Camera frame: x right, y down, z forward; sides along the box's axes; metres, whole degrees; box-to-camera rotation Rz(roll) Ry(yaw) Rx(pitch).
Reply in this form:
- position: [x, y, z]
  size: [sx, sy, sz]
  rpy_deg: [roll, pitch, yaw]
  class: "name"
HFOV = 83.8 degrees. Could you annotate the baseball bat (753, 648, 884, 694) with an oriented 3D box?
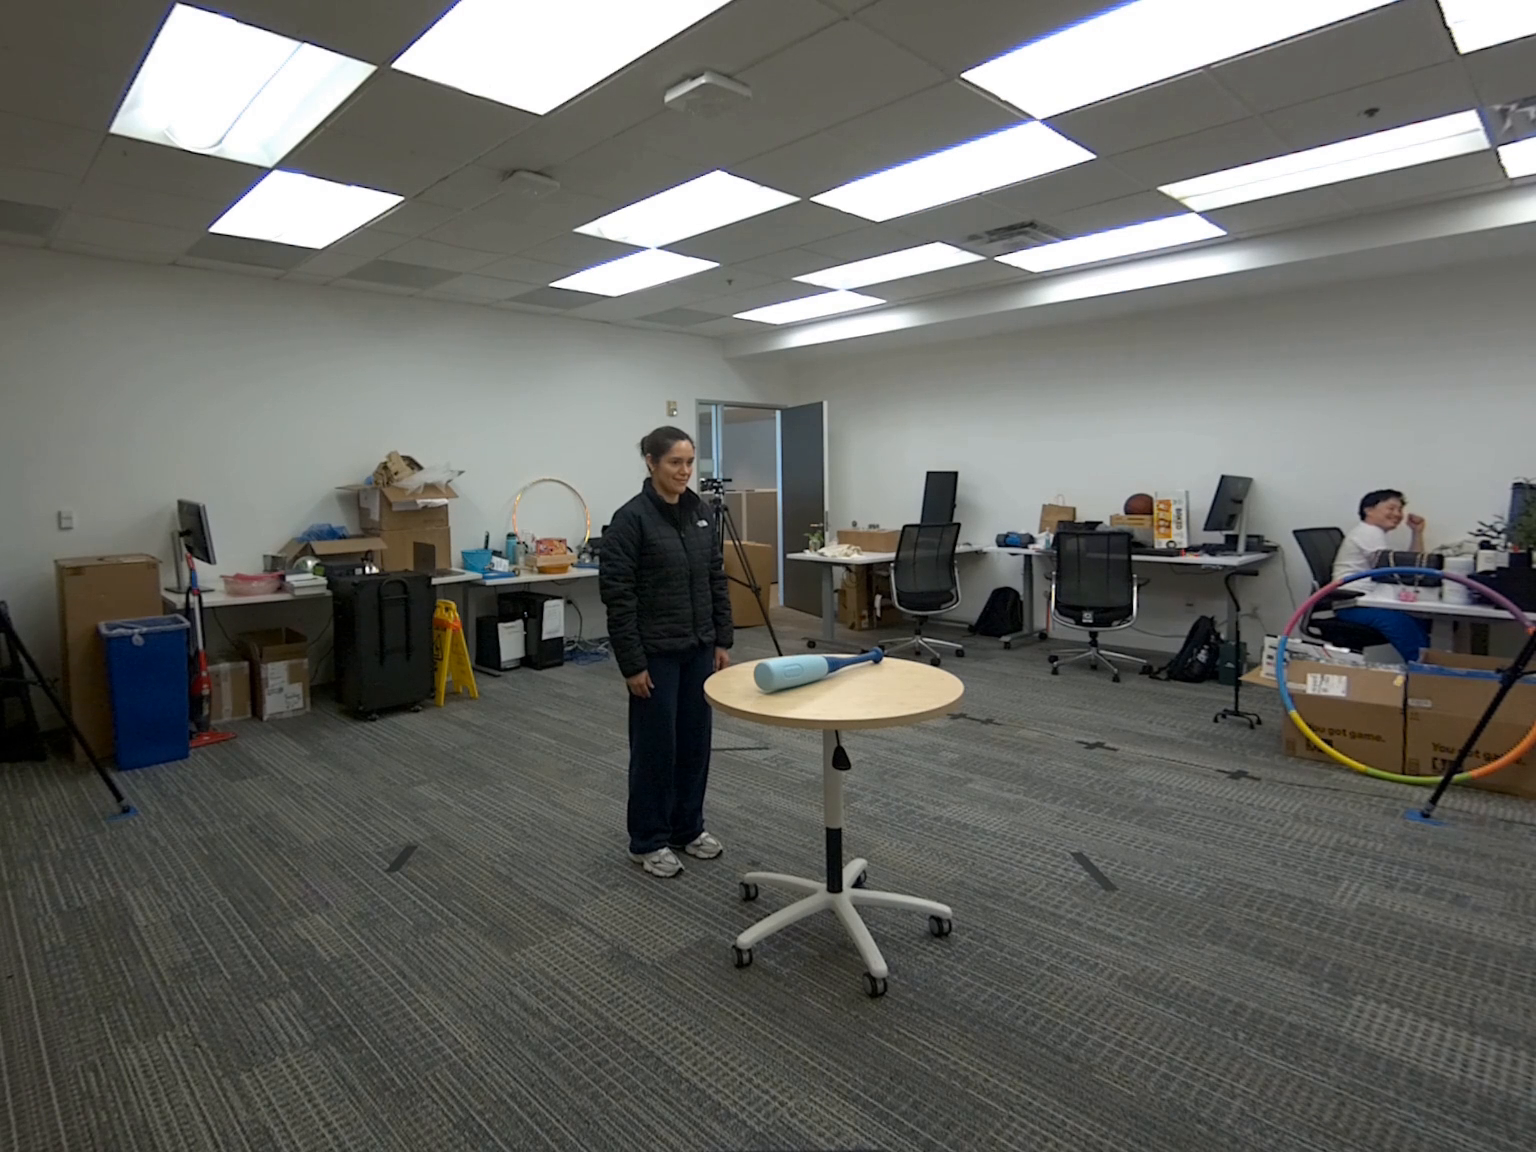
- position: [0.173, 0.275, 2.636]
  size: [0.528, 0.089, 0.092]
  rpy_deg: [-4, 5, -44]
  class: "baseball bat"
